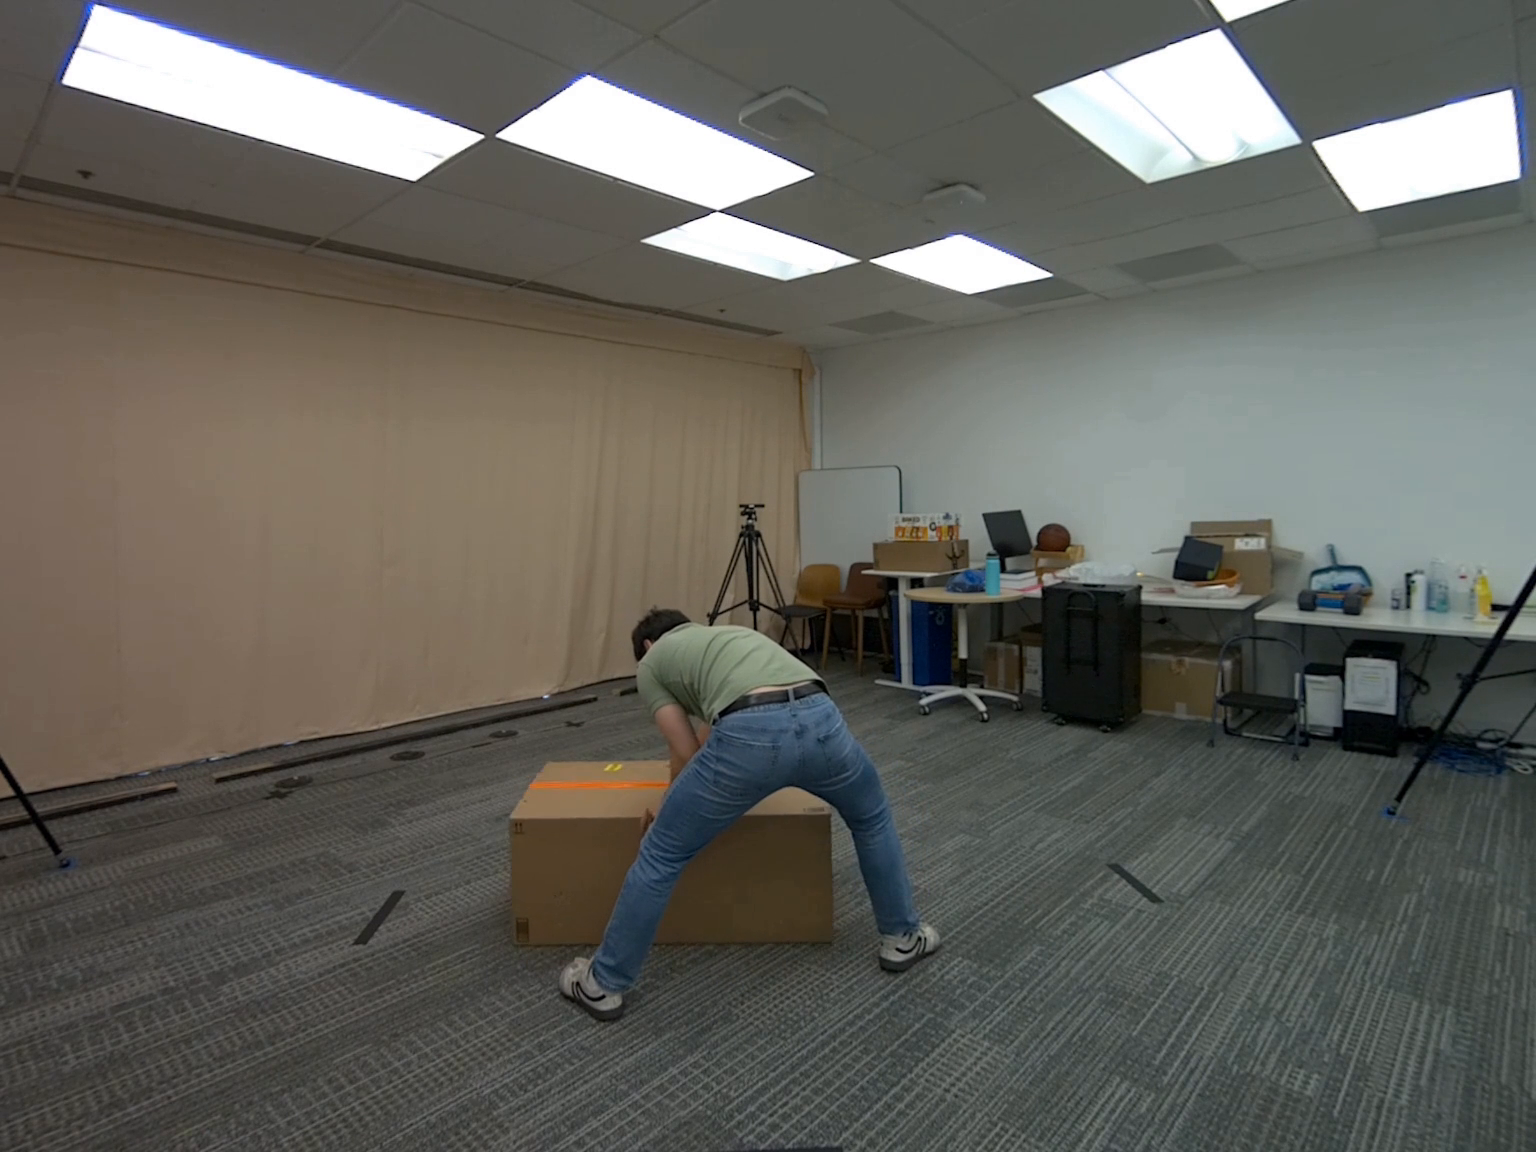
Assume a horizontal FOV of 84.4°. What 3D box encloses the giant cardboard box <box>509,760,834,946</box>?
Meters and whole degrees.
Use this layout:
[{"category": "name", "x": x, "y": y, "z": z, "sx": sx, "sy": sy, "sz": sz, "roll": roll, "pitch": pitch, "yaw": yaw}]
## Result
[{"category": "giant cardboard box", "x": -0.318, "y": 0.934, "z": 2.949, "sx": 1.026, "sy": 0.425, "sz": 0.578, "roll": -1, "pitch": 4, "yaw": 0}]
